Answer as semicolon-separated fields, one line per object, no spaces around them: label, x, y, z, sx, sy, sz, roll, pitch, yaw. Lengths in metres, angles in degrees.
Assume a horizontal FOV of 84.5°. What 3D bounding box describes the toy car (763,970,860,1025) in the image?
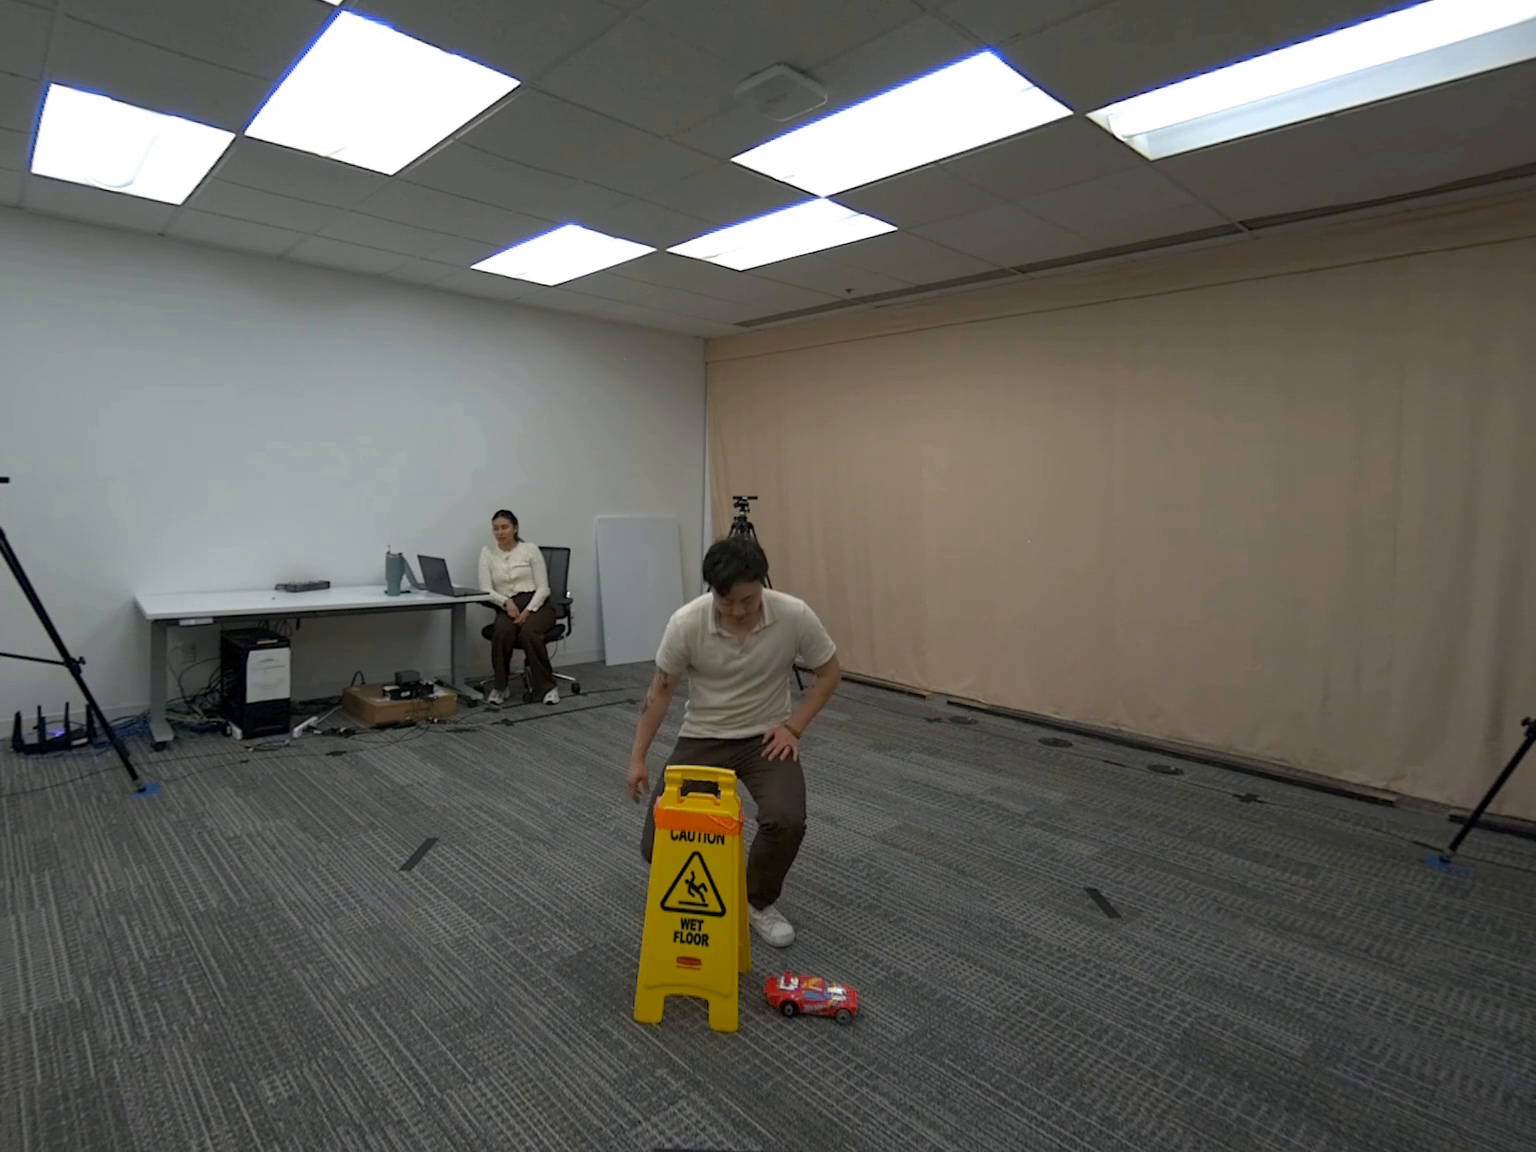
toy car;0.111;1.153;2.295;0.256;0.083;0.130;11;7;4
